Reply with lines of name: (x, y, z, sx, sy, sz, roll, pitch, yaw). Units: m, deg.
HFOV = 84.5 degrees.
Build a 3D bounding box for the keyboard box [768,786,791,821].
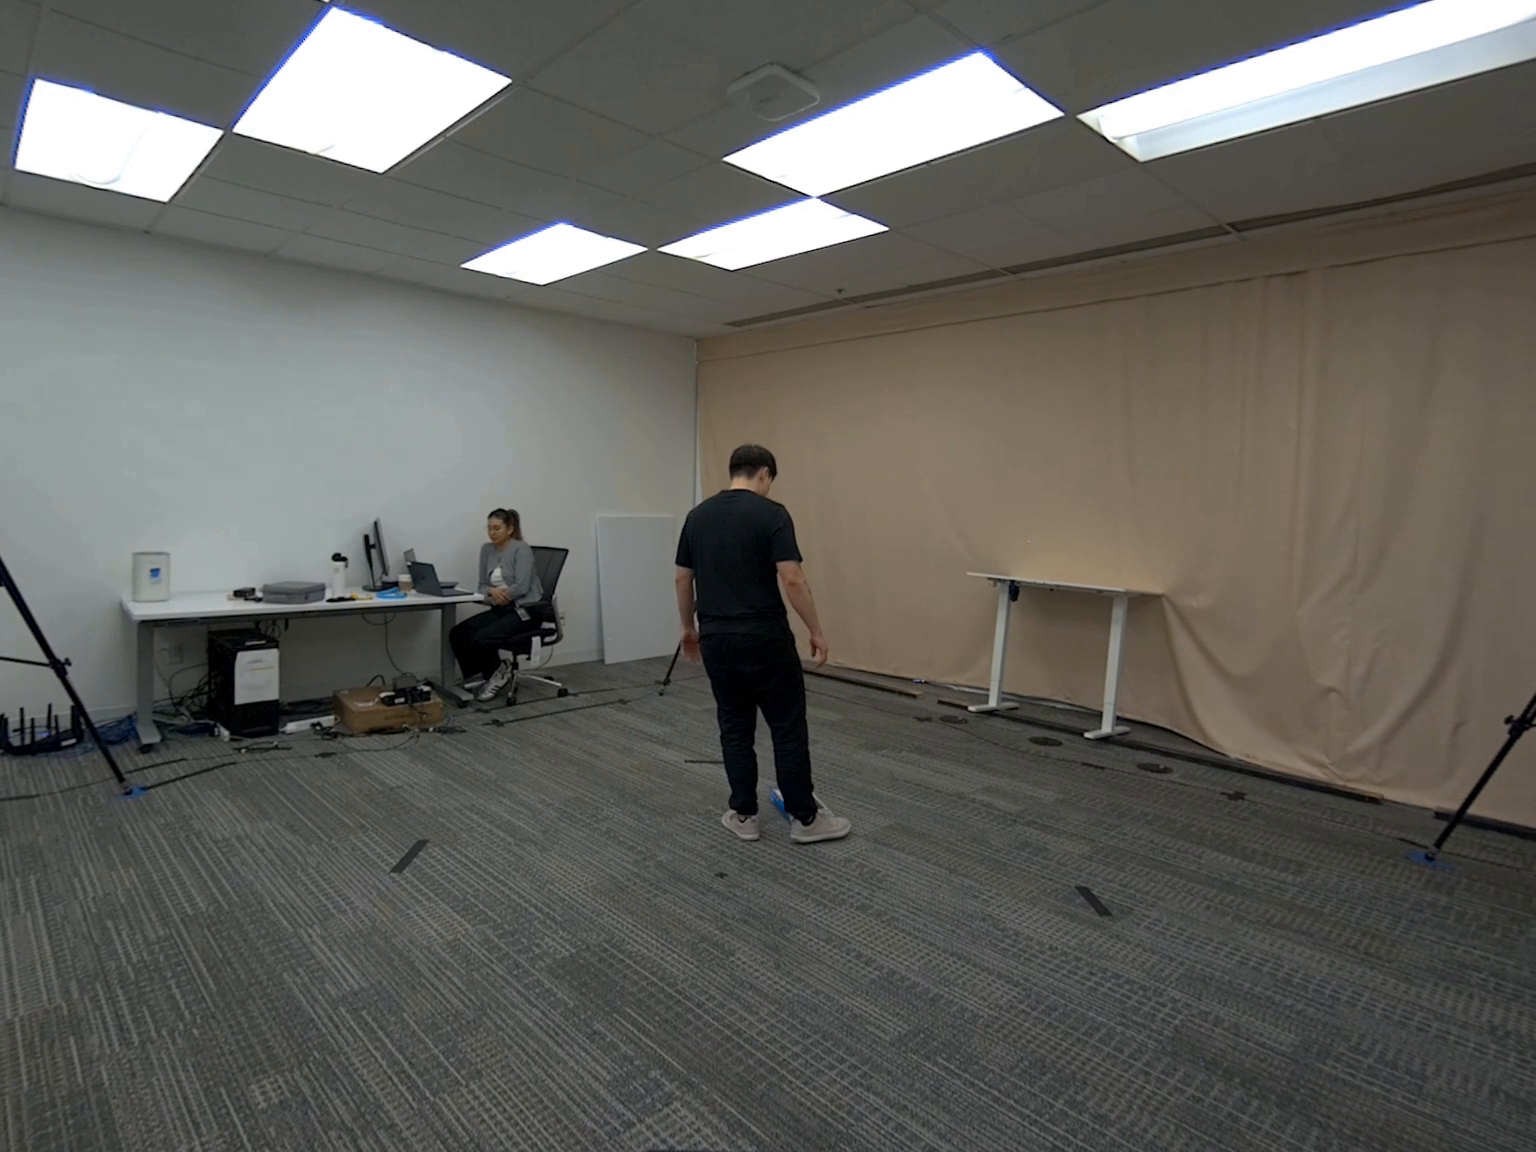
keyboard box: (0.136, 1.029, 3.739, 0.174, 0.059, 0.443, 0, 5, -16)
